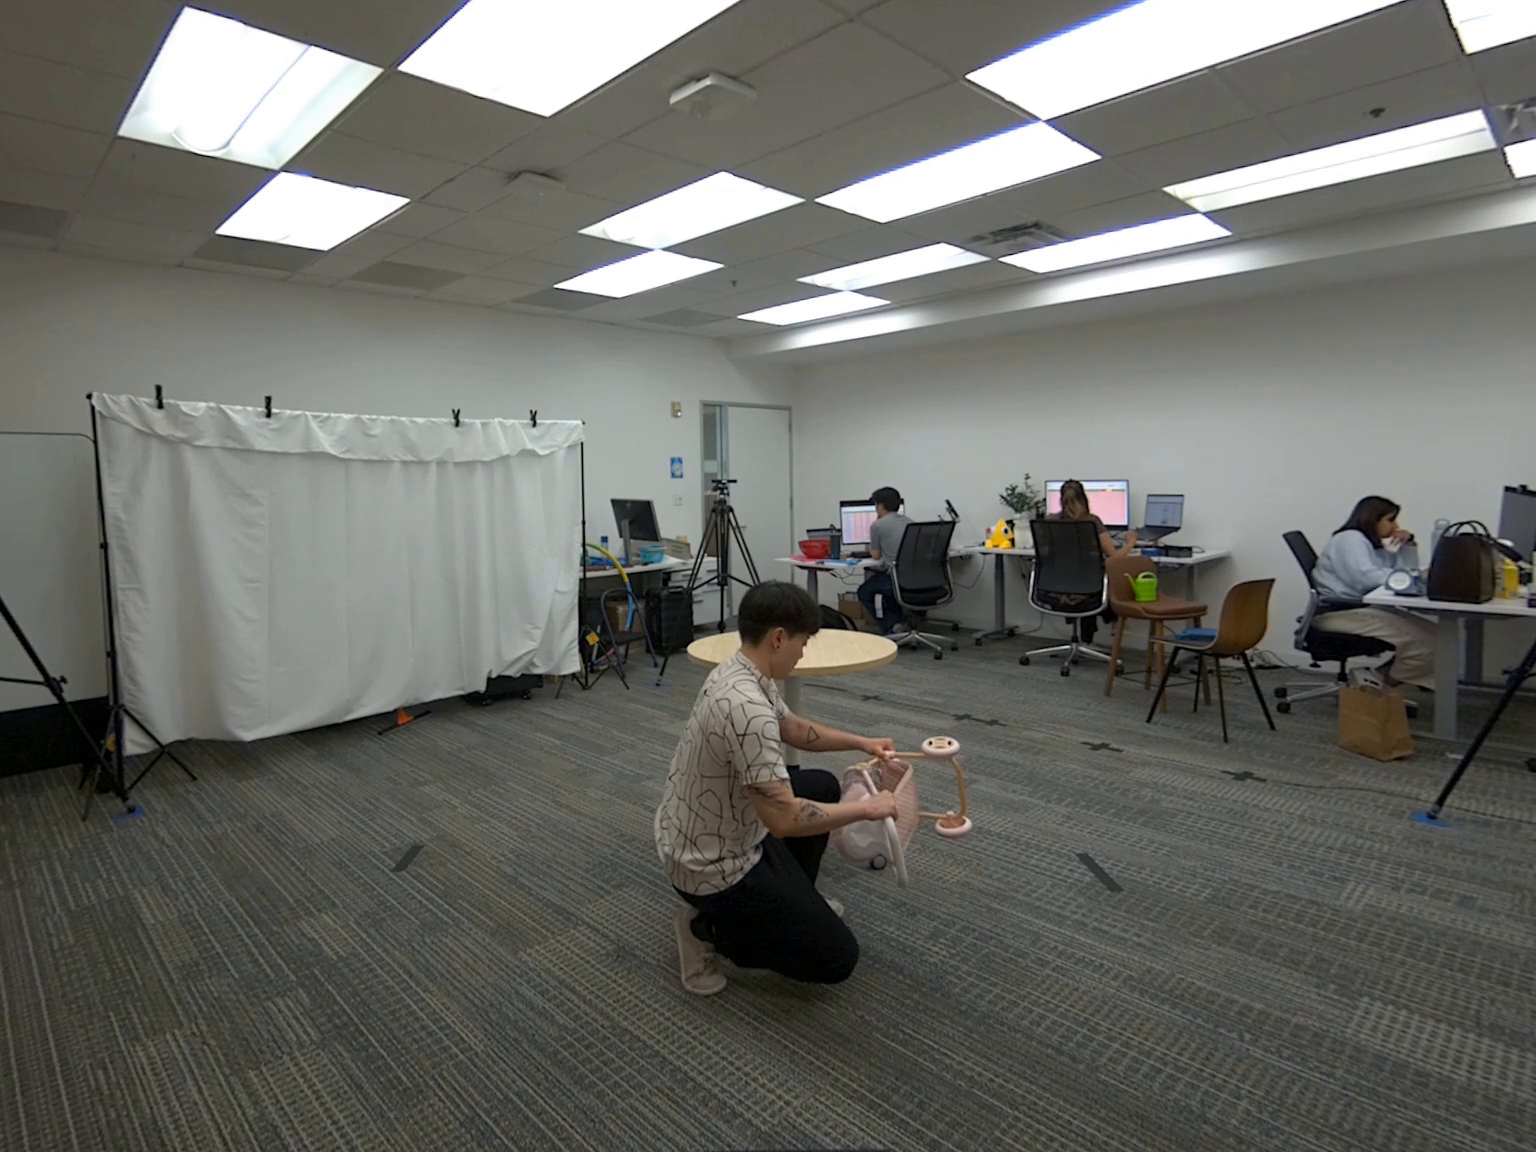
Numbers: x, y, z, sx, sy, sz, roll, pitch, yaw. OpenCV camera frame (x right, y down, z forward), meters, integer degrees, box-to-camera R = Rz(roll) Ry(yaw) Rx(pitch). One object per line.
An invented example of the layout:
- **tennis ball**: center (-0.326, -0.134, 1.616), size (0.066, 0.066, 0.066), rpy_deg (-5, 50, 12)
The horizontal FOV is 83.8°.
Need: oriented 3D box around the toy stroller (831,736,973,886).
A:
- **toy stroller**: center (0.364, 0.657, 2.469), size (0.351, 0.278, 0.526), rpy_deg (3, 18, 38)
